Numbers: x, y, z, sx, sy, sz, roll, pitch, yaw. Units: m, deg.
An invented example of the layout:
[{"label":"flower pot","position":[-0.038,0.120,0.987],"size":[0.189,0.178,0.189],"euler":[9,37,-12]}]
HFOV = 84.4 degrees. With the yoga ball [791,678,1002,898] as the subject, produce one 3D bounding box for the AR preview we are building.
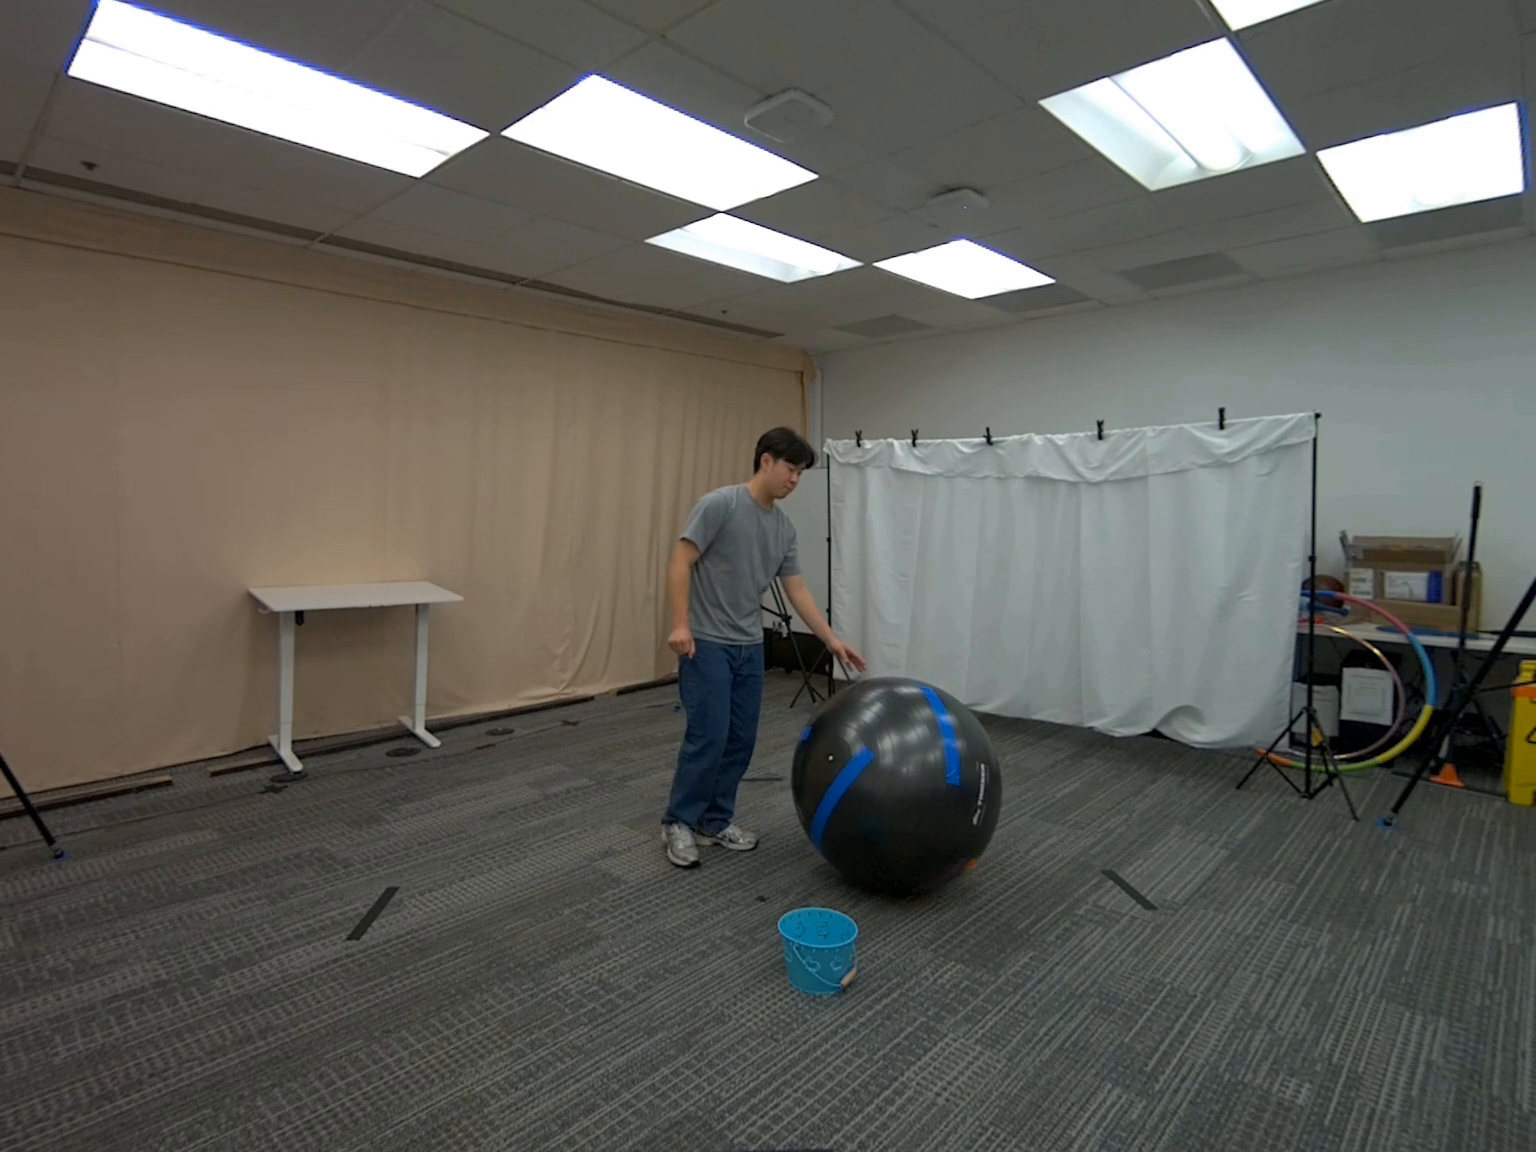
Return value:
[{"label":"yoga ball","position":[0.470,0.761,3.107],"size":[0.757,0.756,0.760],"euler":[0,4,-2]}]
